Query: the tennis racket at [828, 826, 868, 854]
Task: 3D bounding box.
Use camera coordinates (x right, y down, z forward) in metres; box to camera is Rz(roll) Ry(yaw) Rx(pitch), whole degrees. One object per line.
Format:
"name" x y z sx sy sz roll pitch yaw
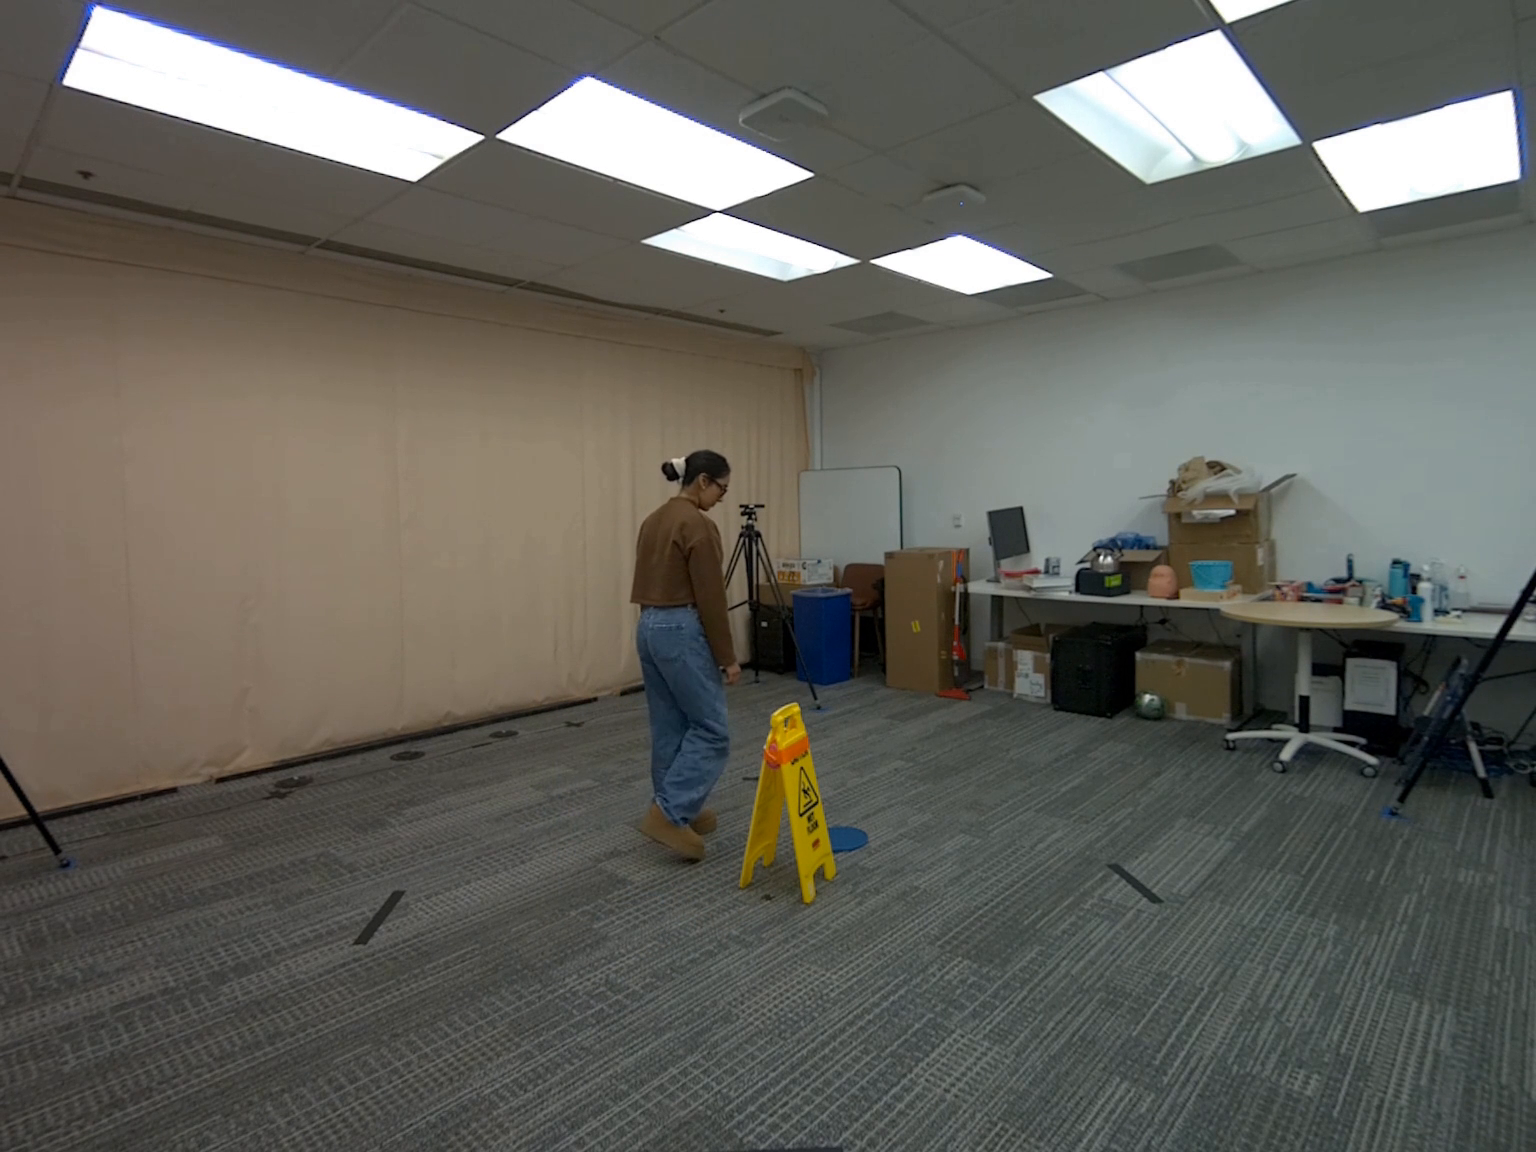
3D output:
"tennis racket" 0.259 1.085 3.403 0.220 0.032 0.421 3 4 32
